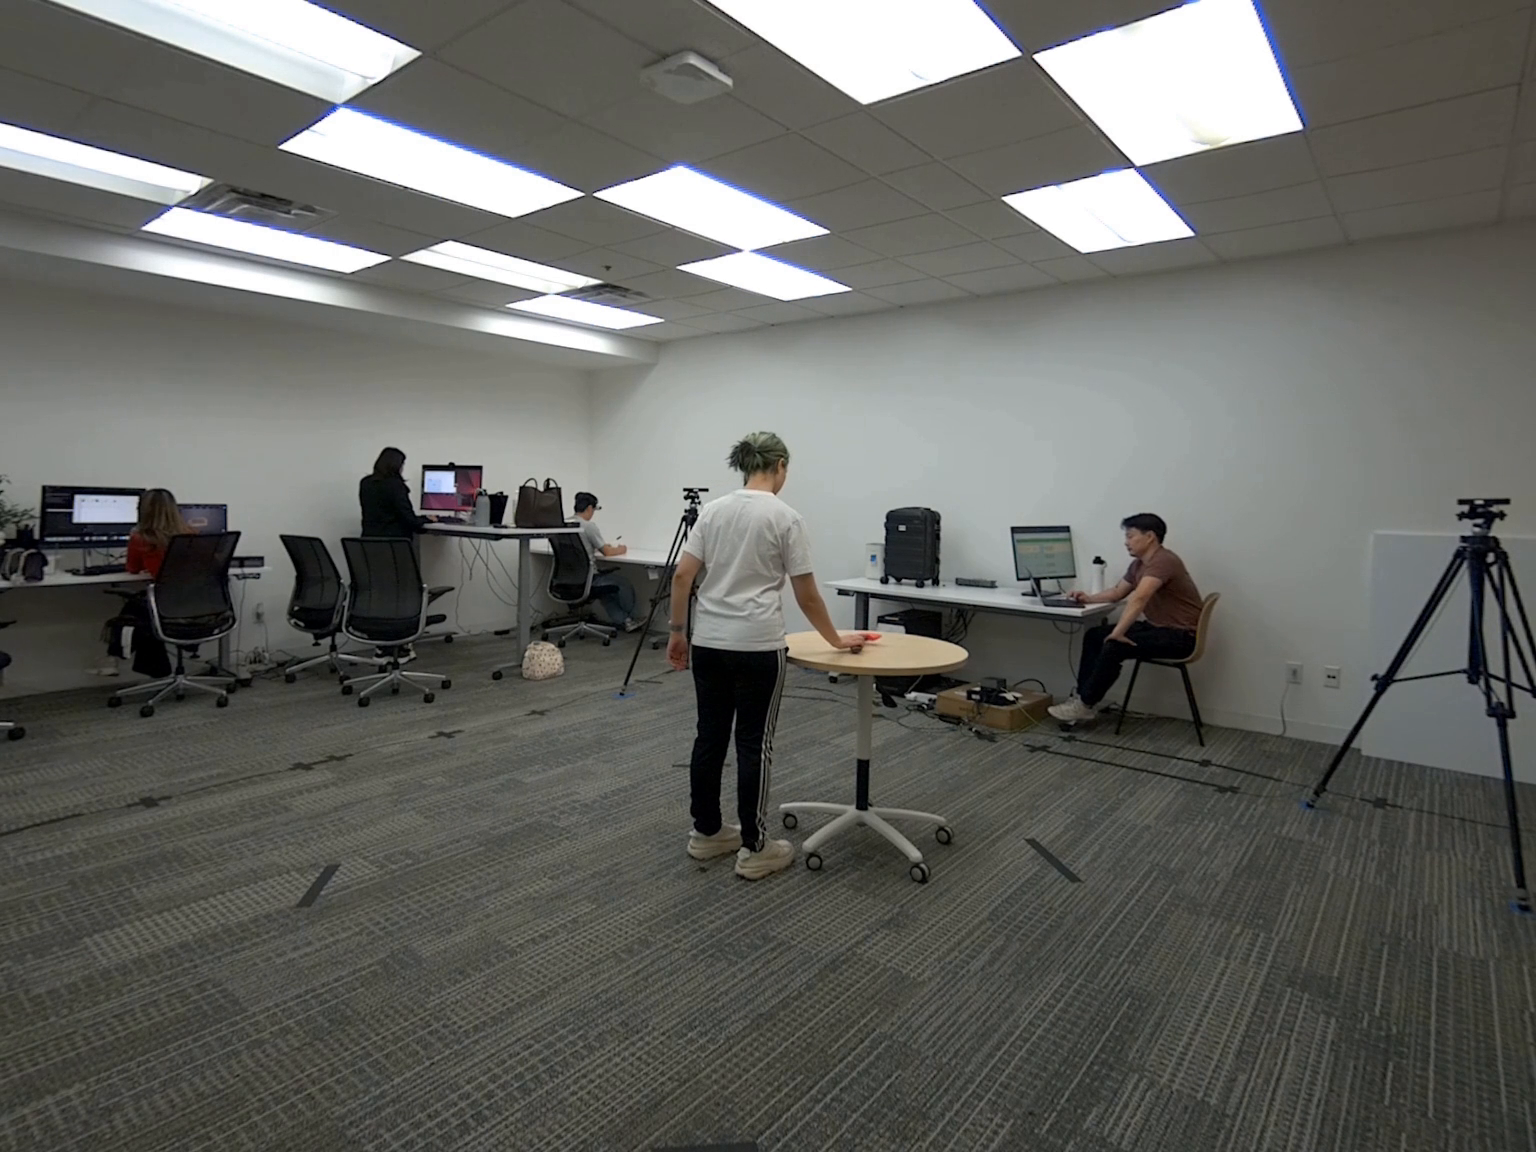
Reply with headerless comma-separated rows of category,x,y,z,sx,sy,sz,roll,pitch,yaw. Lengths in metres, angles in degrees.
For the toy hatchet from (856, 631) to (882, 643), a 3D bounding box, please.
toy hatchet,0.369,0.253,3.294,0.132,0.029,0.270,-7,7,4
